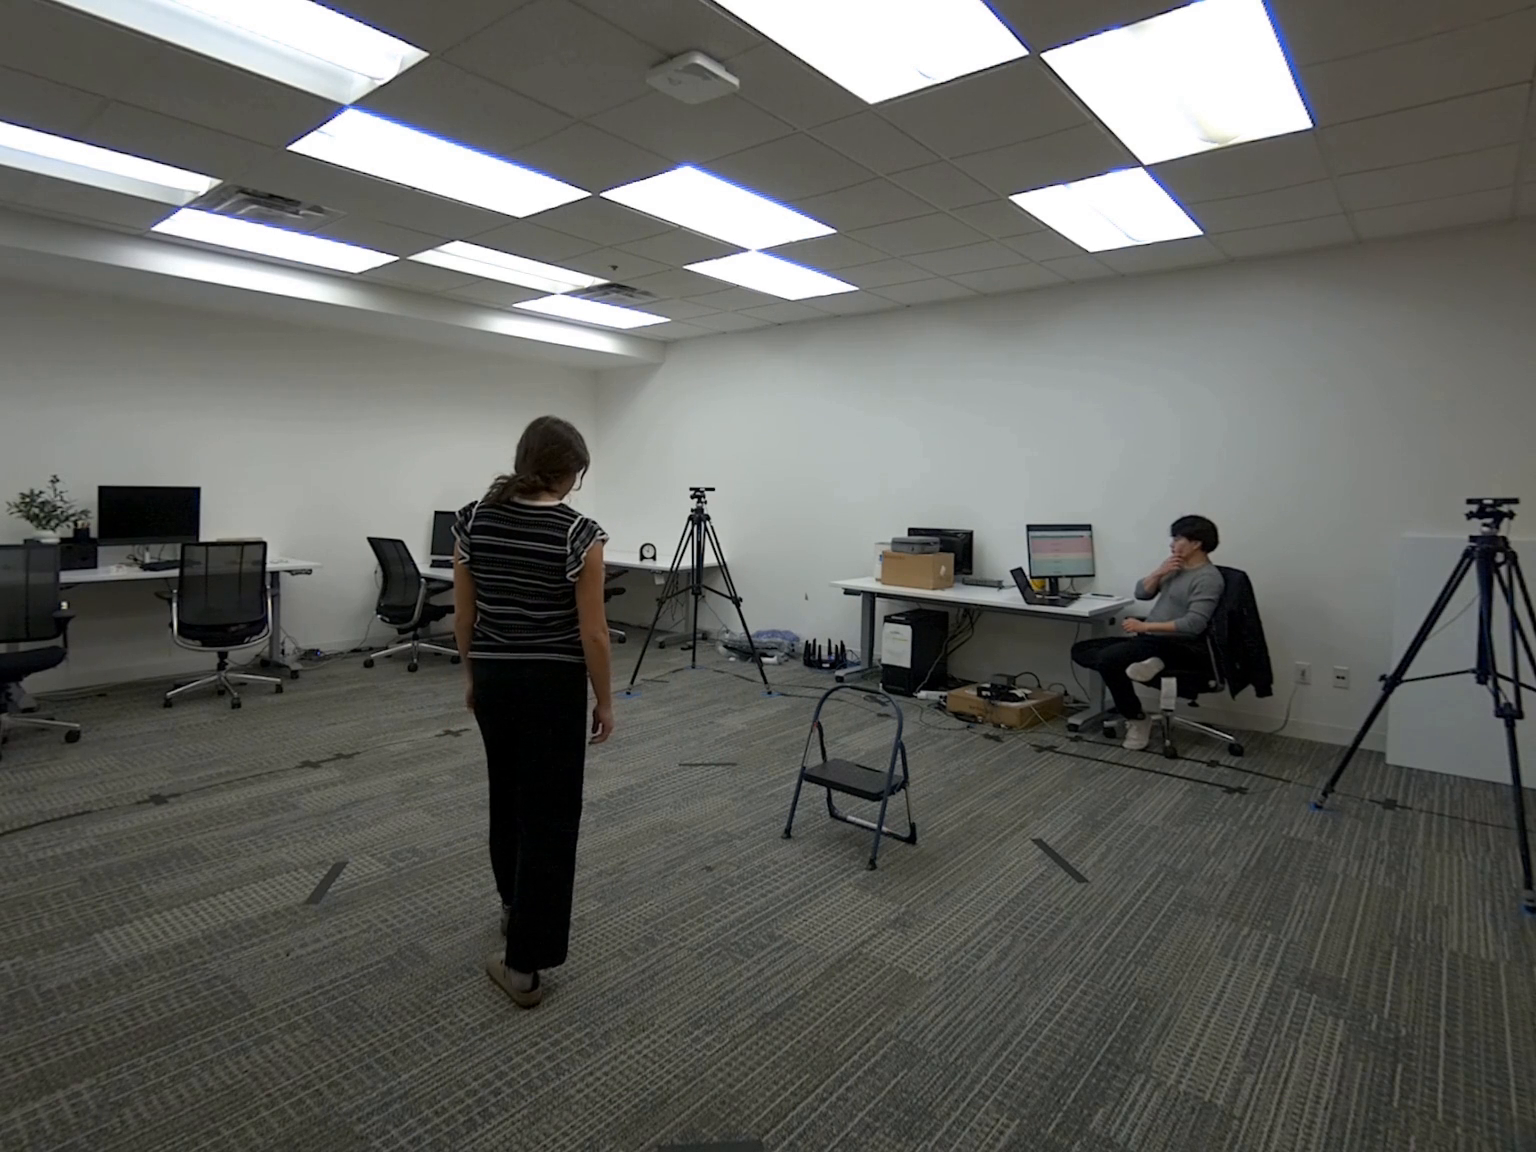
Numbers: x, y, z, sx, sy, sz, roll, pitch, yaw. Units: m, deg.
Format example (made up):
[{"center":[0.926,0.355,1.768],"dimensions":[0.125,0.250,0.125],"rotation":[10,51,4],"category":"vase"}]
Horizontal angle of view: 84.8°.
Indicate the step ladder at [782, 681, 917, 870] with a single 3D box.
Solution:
[{"center":[0.327,0.751,3.376],"dimensions":[0.445,0.604,0.339],"rotation":[5,5,40],"category":"step ladder"}]
